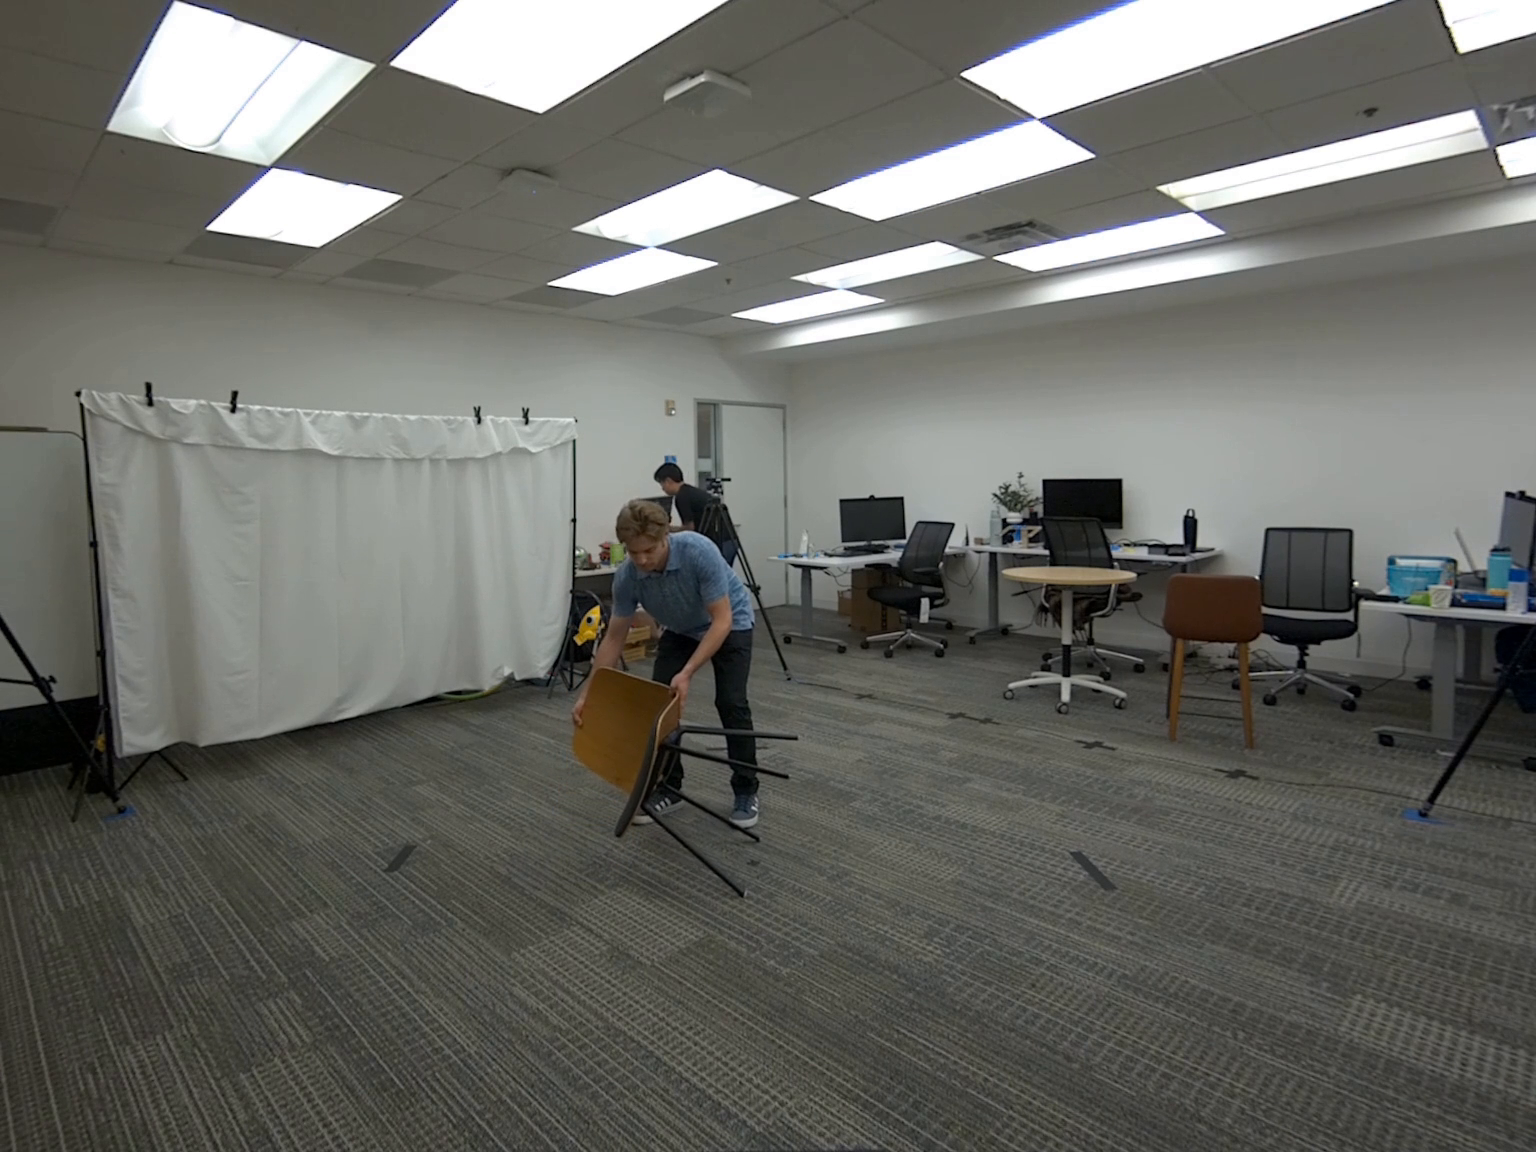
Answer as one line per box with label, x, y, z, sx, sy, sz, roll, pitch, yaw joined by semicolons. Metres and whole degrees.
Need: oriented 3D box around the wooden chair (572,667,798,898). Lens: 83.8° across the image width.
wooden chair;-0.376;0.694;3.090;0.890;0.476;0.518;21;8;11
